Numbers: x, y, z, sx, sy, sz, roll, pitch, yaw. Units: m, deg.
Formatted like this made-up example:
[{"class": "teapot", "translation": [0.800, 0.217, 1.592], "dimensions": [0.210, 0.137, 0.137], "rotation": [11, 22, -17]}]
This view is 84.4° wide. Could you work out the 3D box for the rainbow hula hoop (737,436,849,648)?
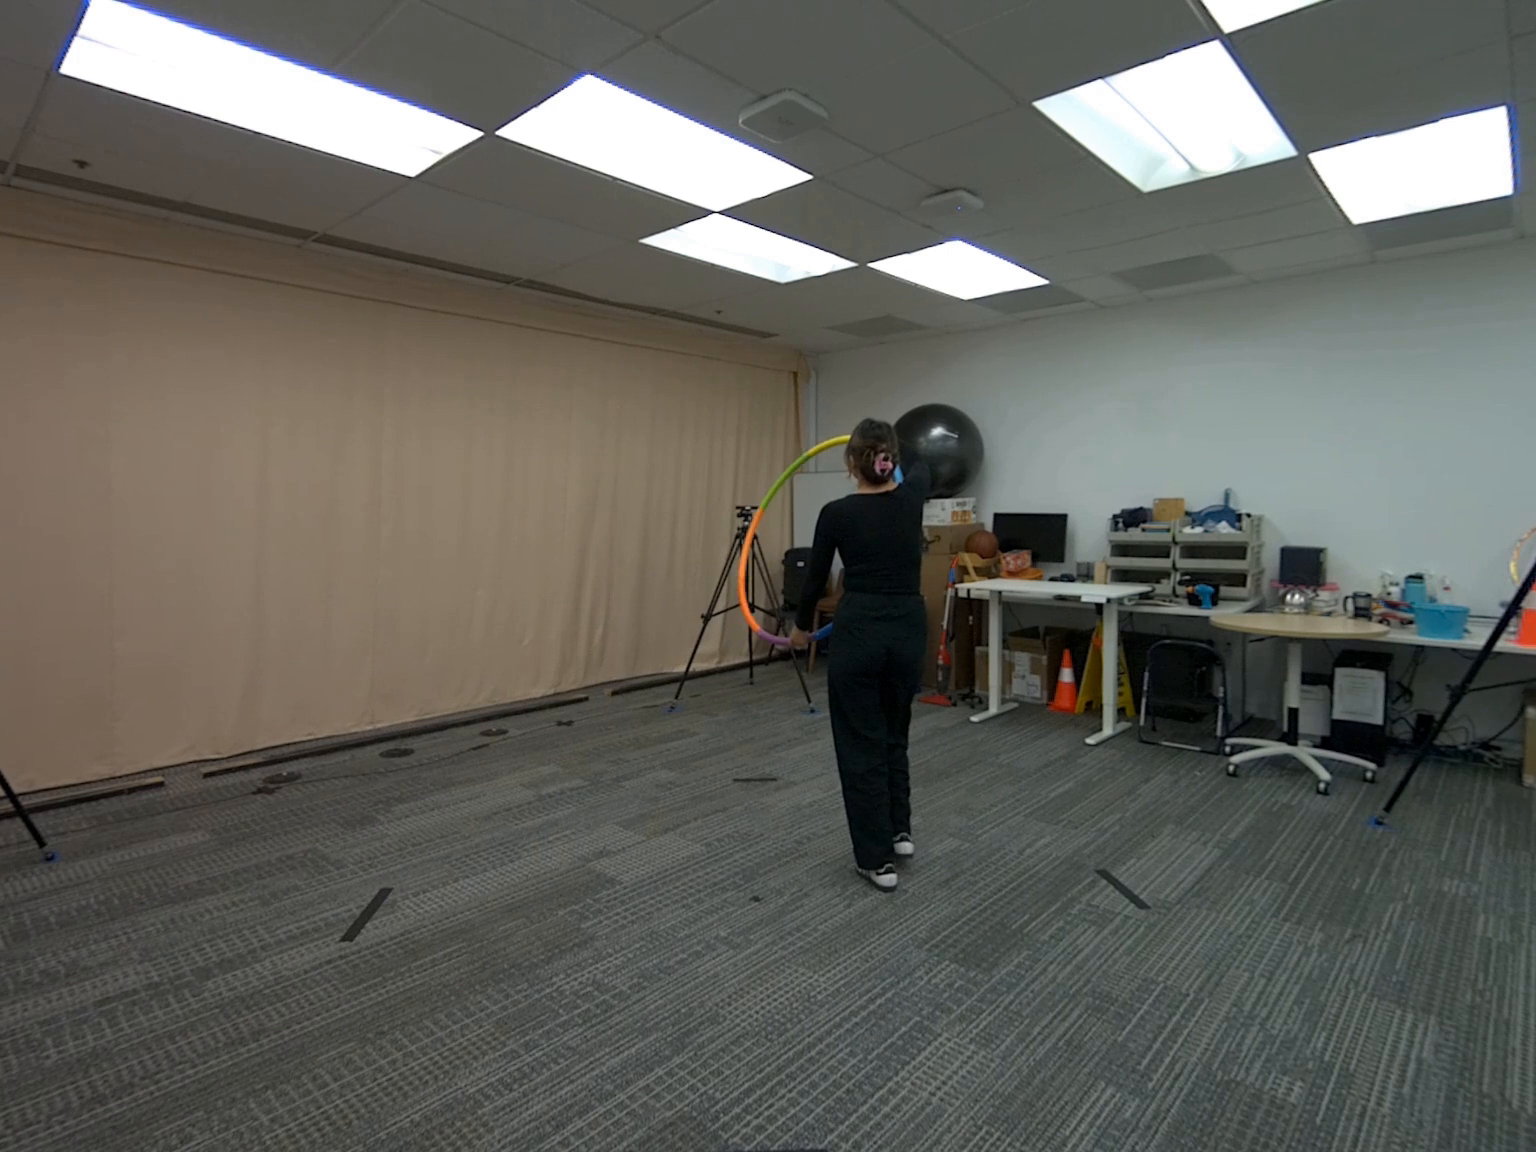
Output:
[{"class": "rainbow hula hoop", "translation": [0.206, -0.164, 3.681], "dimensions": [0.050, 0.988, 1.017], "rotation": [26, -12, -36]}]
